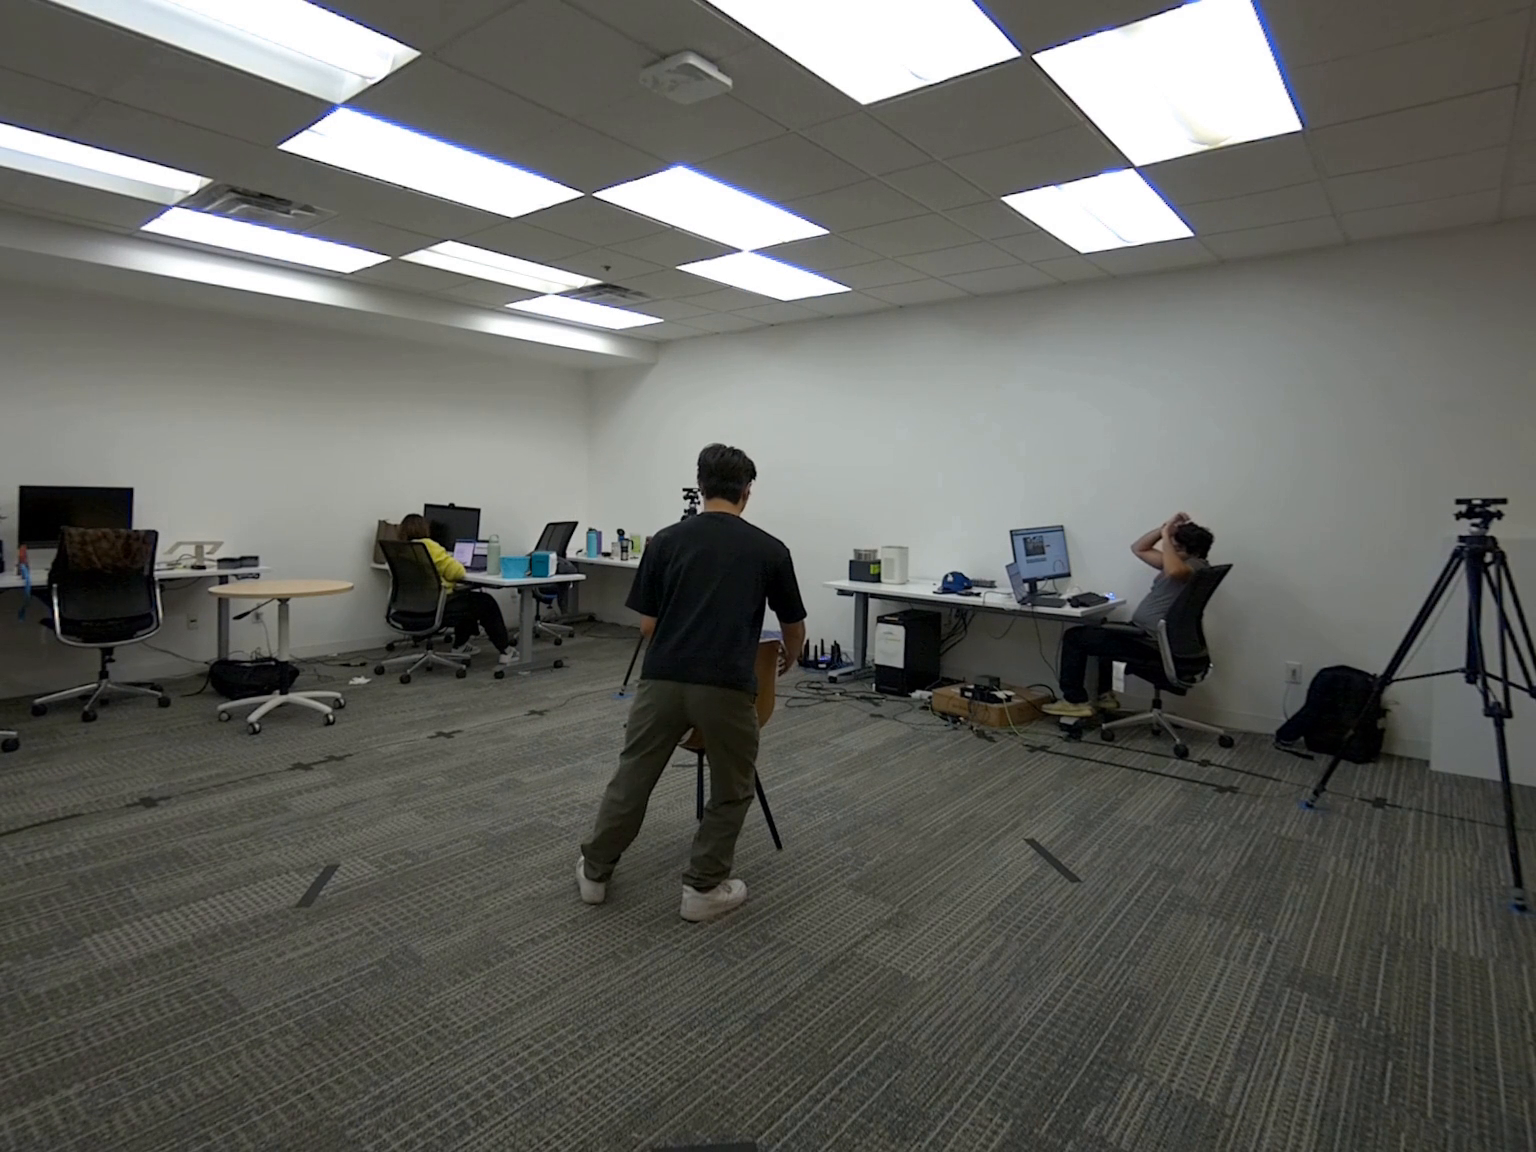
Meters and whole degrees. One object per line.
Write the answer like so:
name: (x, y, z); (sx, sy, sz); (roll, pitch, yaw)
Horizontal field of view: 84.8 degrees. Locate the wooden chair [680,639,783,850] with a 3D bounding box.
wooden chair: (-0.264, 0.624, 3.267); (0.542, 0.873, 0.464); (10, 8, 40)
